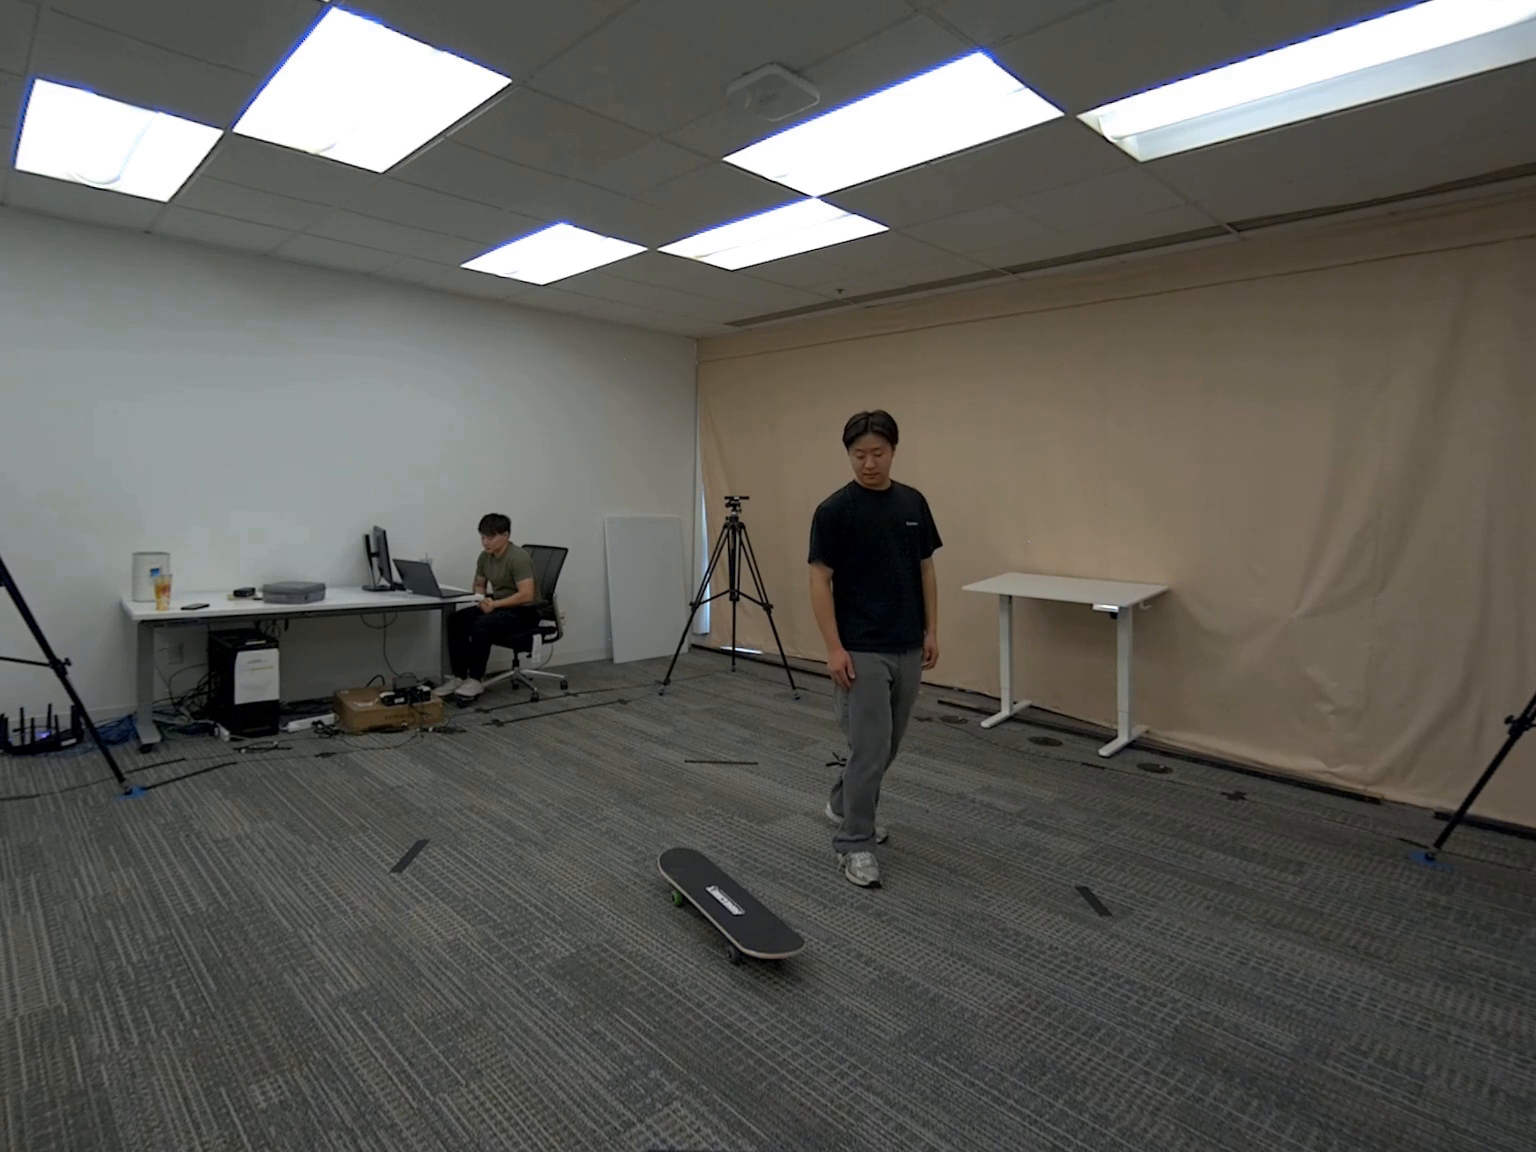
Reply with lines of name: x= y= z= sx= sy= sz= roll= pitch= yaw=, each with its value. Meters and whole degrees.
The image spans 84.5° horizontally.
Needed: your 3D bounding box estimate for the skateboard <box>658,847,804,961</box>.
skateboard: x=-0.148 y=1.081 z=2.729 sx=0.189 sy=0.110 sz=0.804 roll=-1 pitch=6 yaw=-31
